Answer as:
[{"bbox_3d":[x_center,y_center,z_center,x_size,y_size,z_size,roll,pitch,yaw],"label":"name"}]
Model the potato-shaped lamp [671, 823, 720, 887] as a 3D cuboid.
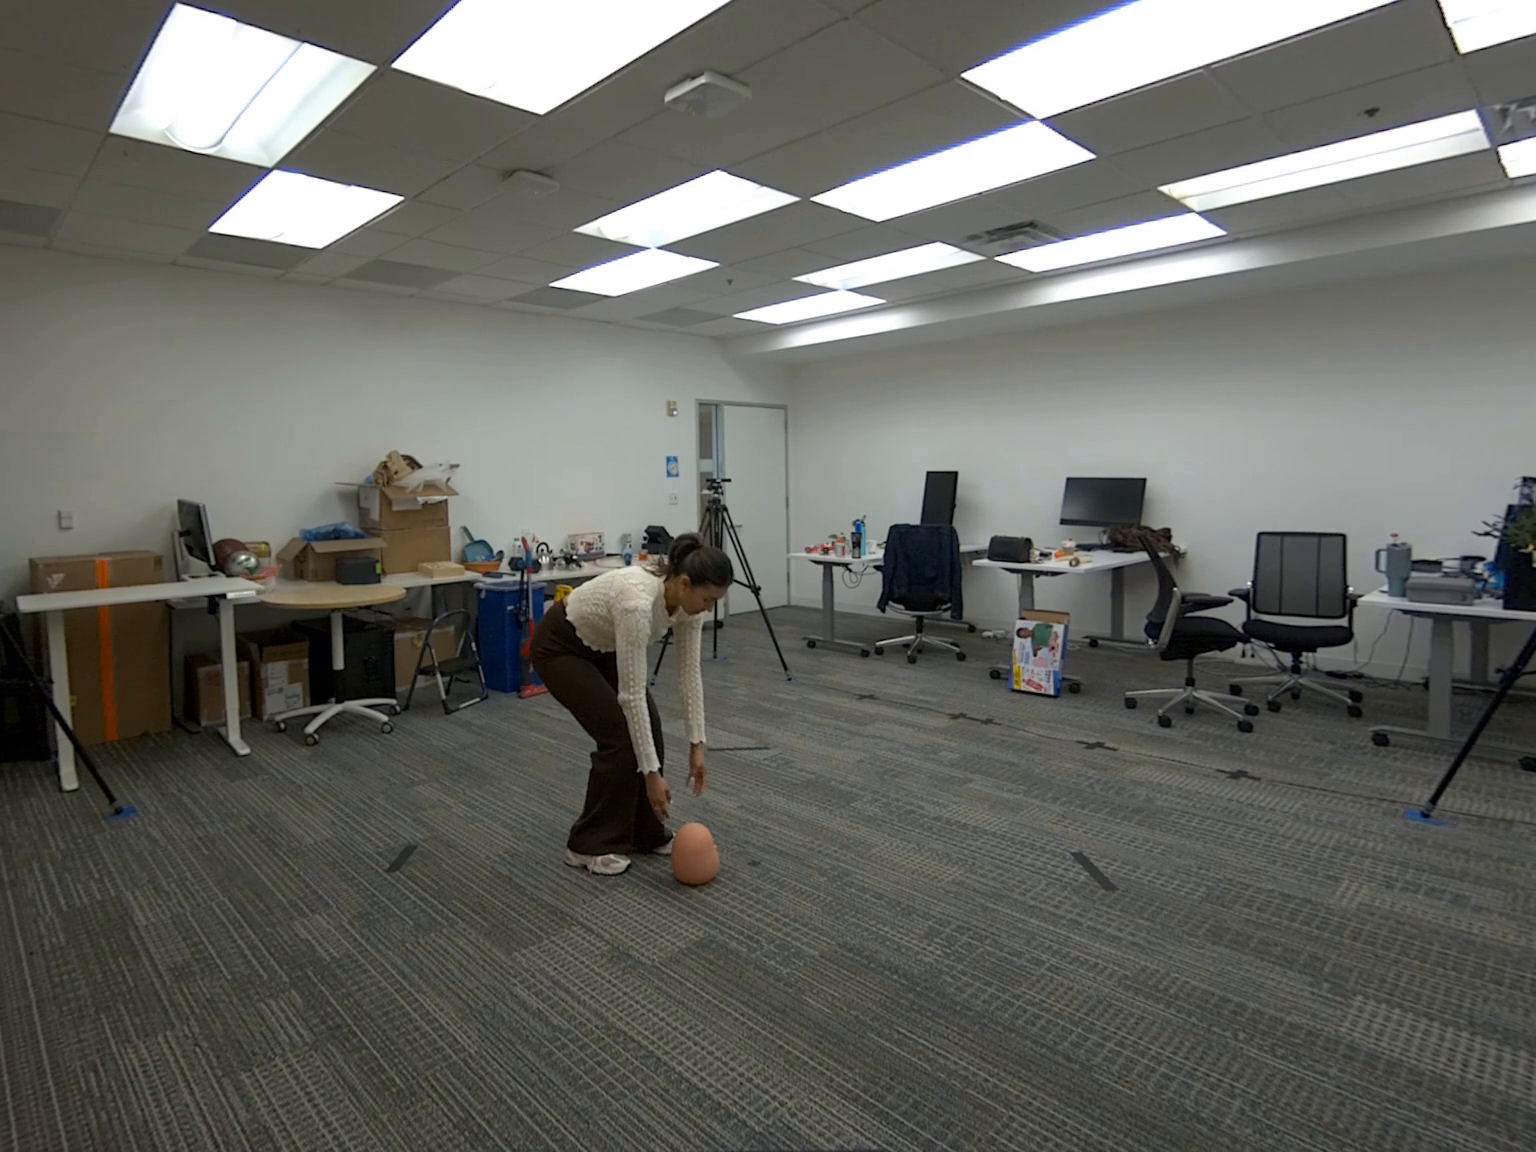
[{"bbox_3d":[-0.255,0.959,2.982,0.169,0.197,0.167,1,5,30],"label":"potato-shaped lamp"}]
